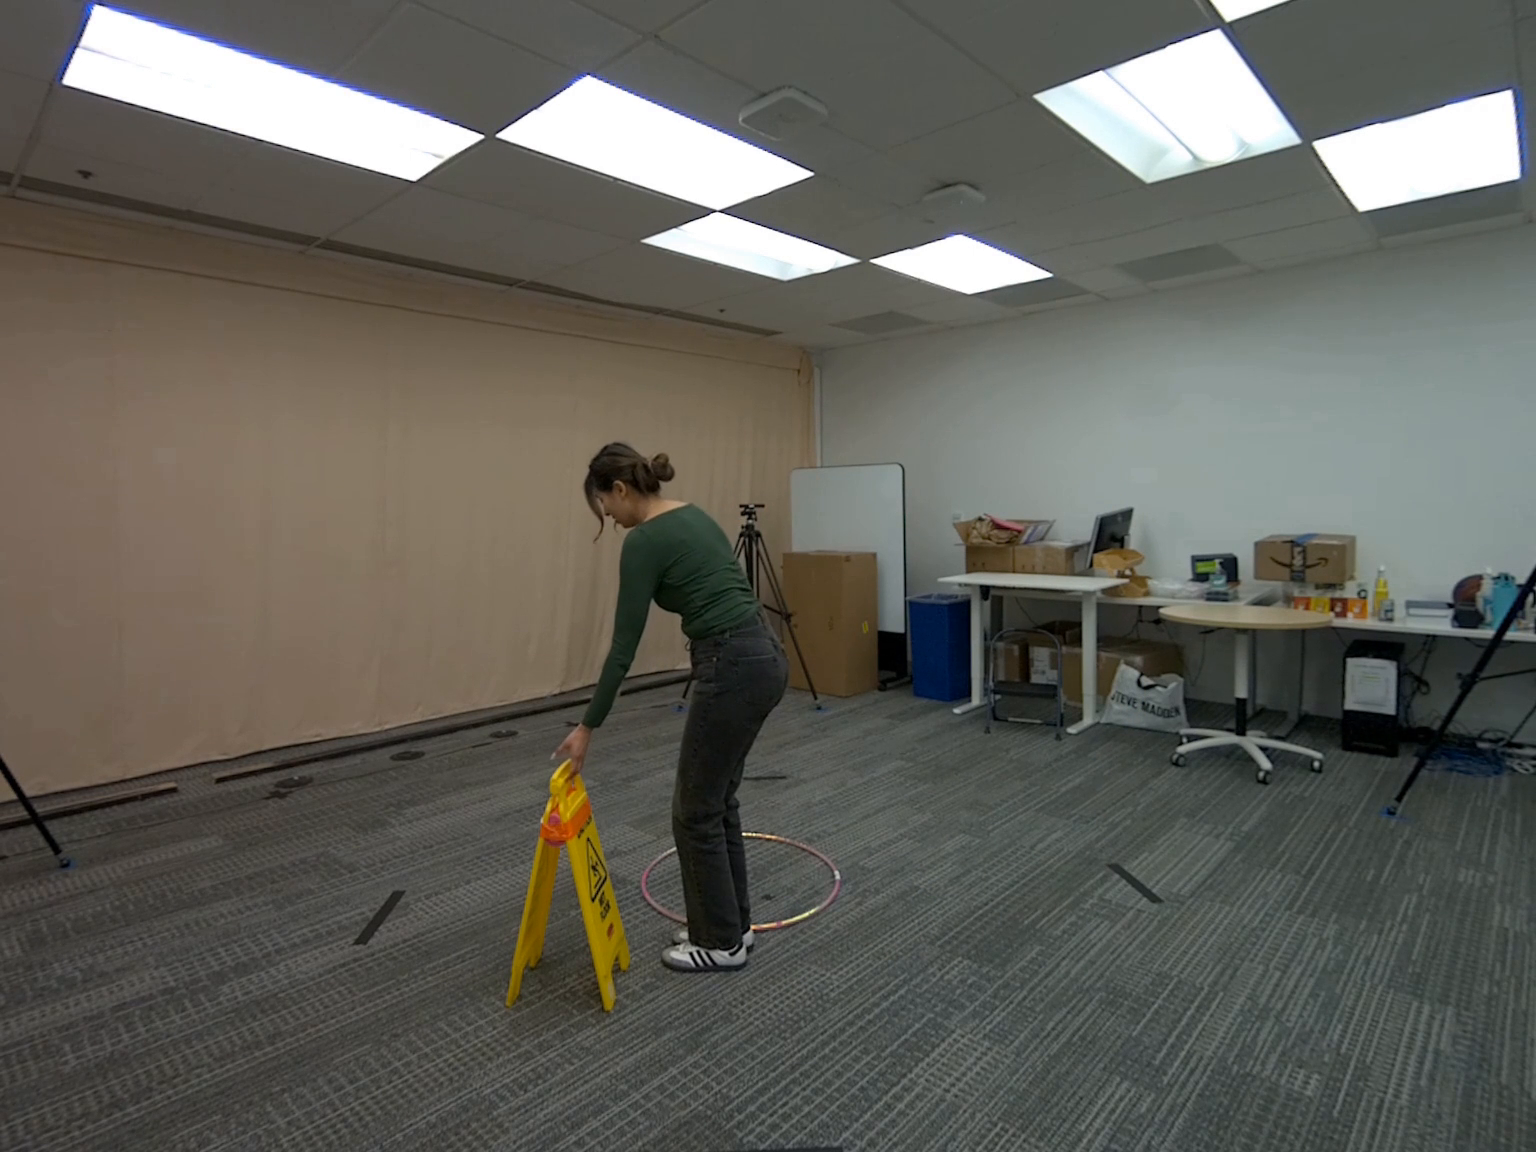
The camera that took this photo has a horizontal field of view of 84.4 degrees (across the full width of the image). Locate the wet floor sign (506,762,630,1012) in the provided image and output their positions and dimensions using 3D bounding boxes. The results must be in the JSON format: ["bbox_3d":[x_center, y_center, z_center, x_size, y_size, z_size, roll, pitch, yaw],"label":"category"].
[{"bbox_3d":[-0.582,0.876,2.456,0.291,0.645,0.281,-1,3,5],"label":"wet floor sign"}]
